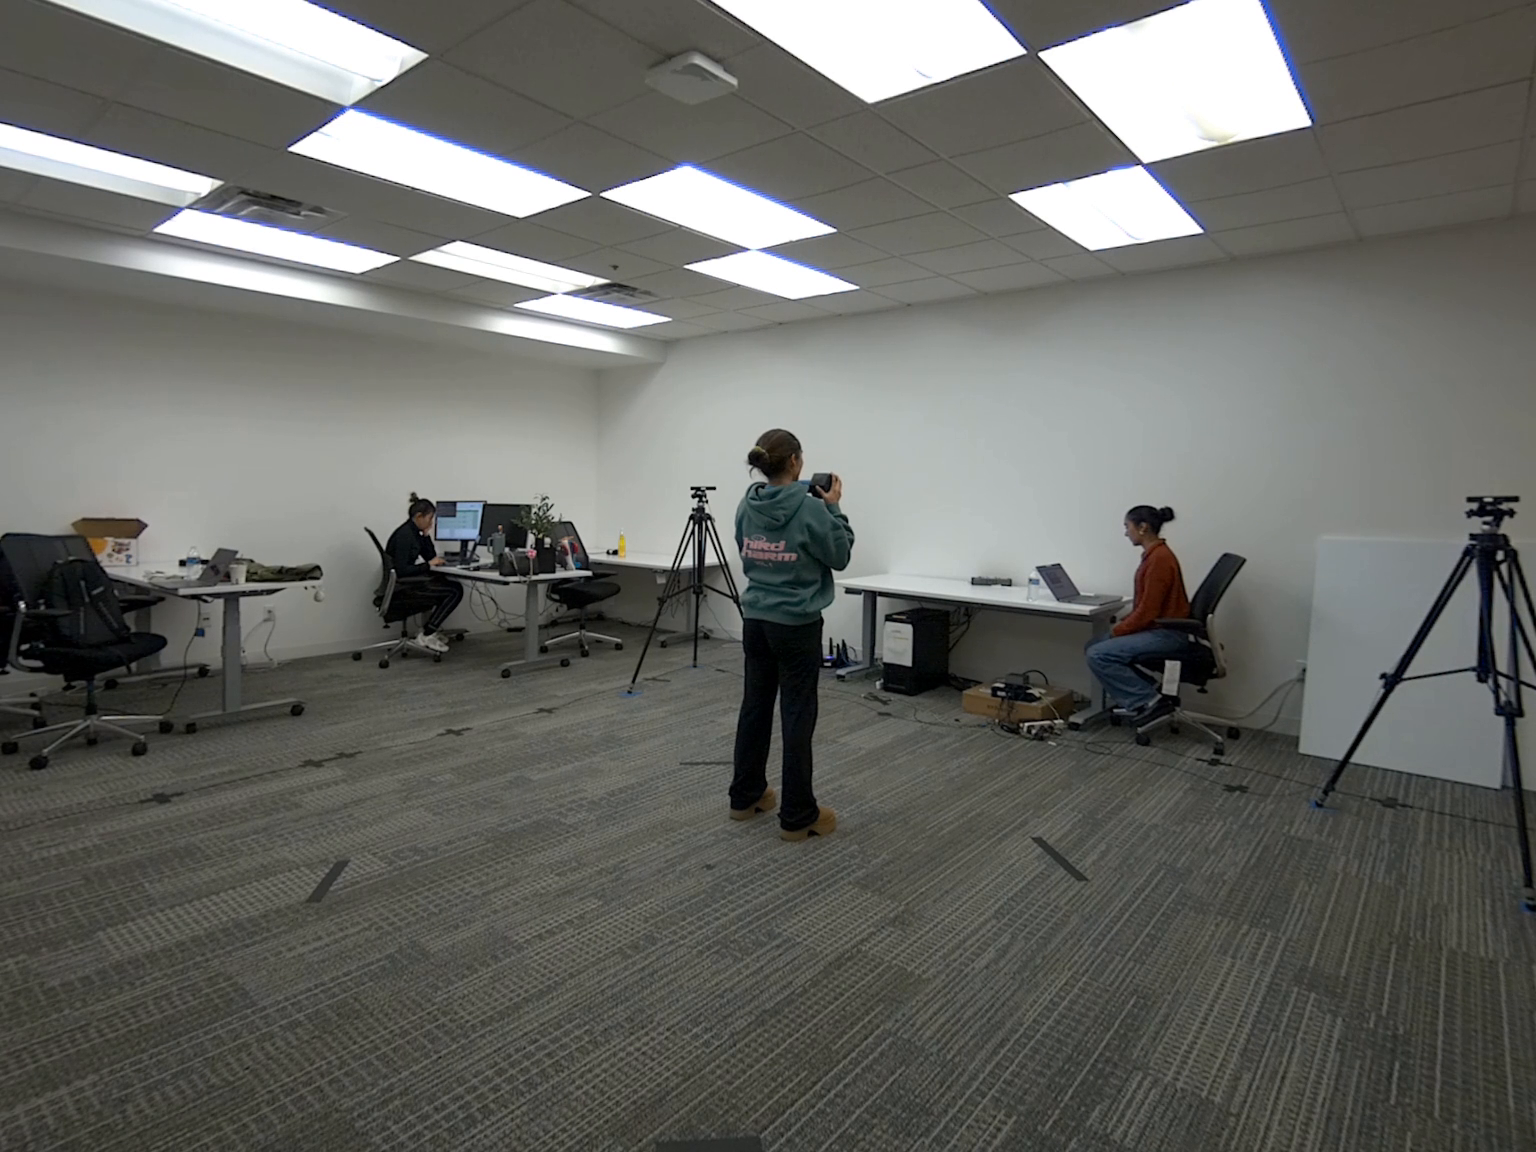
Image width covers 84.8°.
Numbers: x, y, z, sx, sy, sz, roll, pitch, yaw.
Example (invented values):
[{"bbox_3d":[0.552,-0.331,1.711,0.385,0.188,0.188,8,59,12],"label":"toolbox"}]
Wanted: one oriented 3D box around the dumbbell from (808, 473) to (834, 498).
[{"bbox_3d":[0.141,-0.380,3.592,0.303,0.124,0.104,5,-28,44],"label":"dumbbell"}]
